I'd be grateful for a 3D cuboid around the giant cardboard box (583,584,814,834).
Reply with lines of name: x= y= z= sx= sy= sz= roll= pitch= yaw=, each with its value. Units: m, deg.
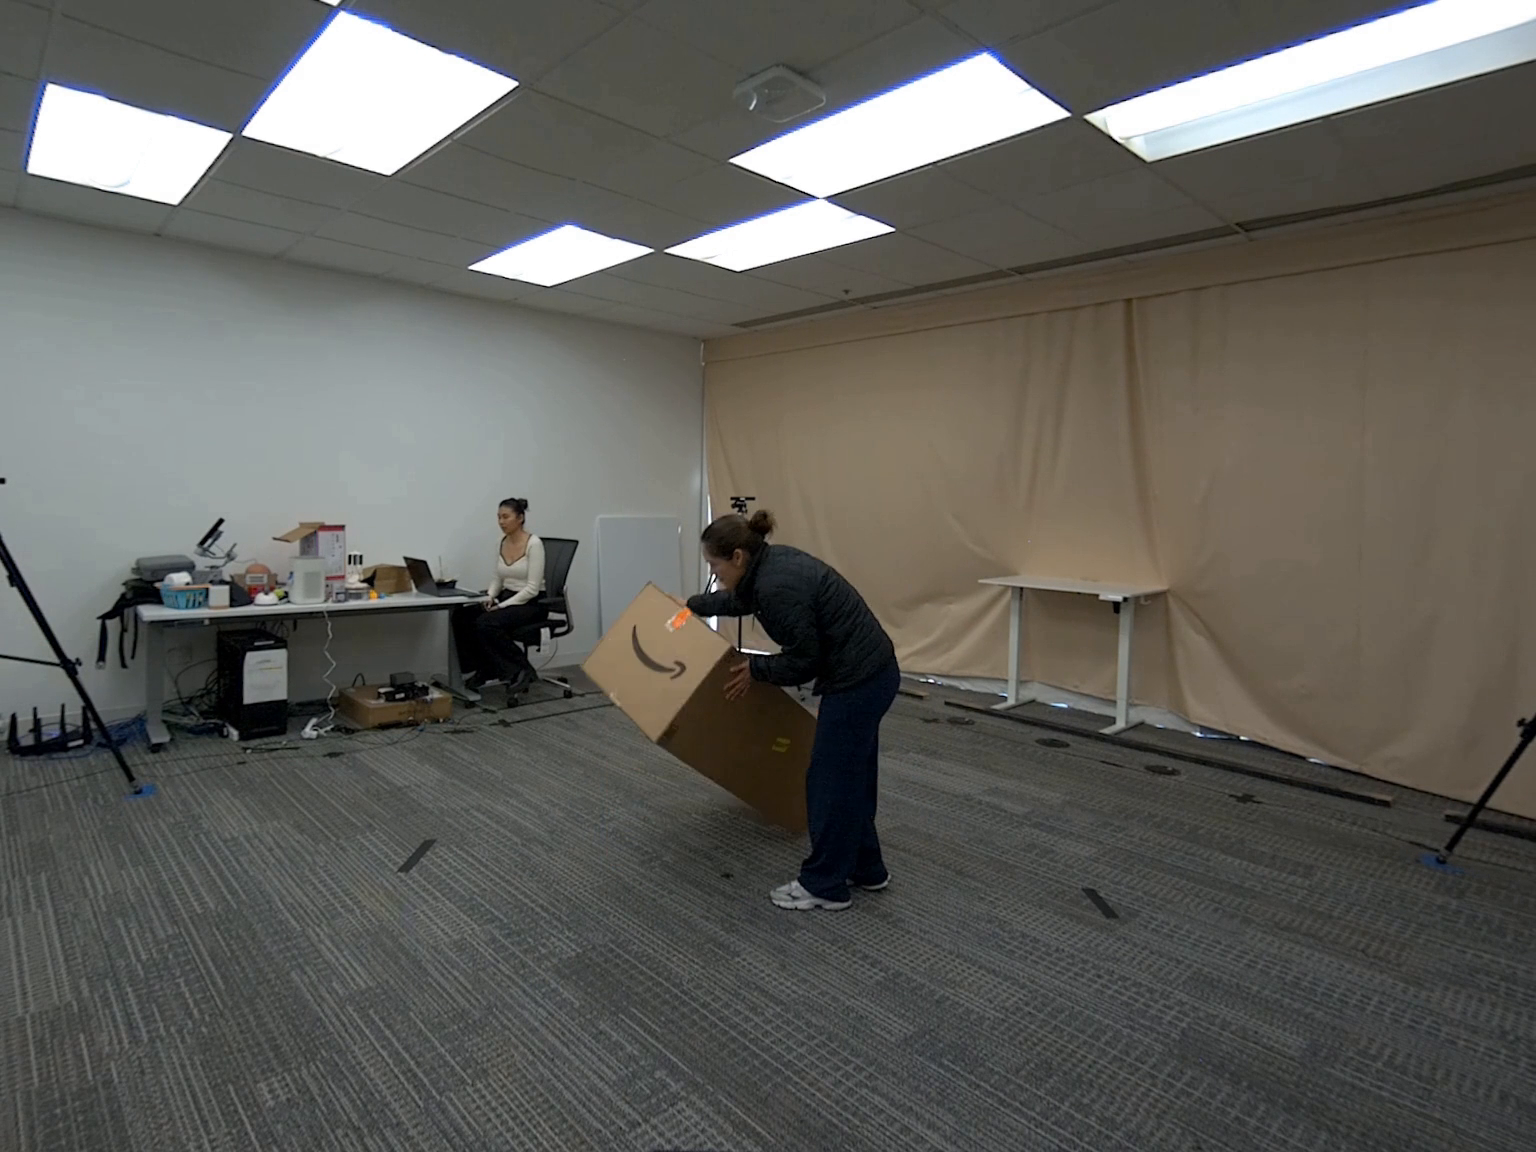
giant cardboard box: x=-0.173 y=0.552 z=3.358 sx=0.596 sy=0.426 sz=0.993 roll=32 pitch=-10 yaw=46
